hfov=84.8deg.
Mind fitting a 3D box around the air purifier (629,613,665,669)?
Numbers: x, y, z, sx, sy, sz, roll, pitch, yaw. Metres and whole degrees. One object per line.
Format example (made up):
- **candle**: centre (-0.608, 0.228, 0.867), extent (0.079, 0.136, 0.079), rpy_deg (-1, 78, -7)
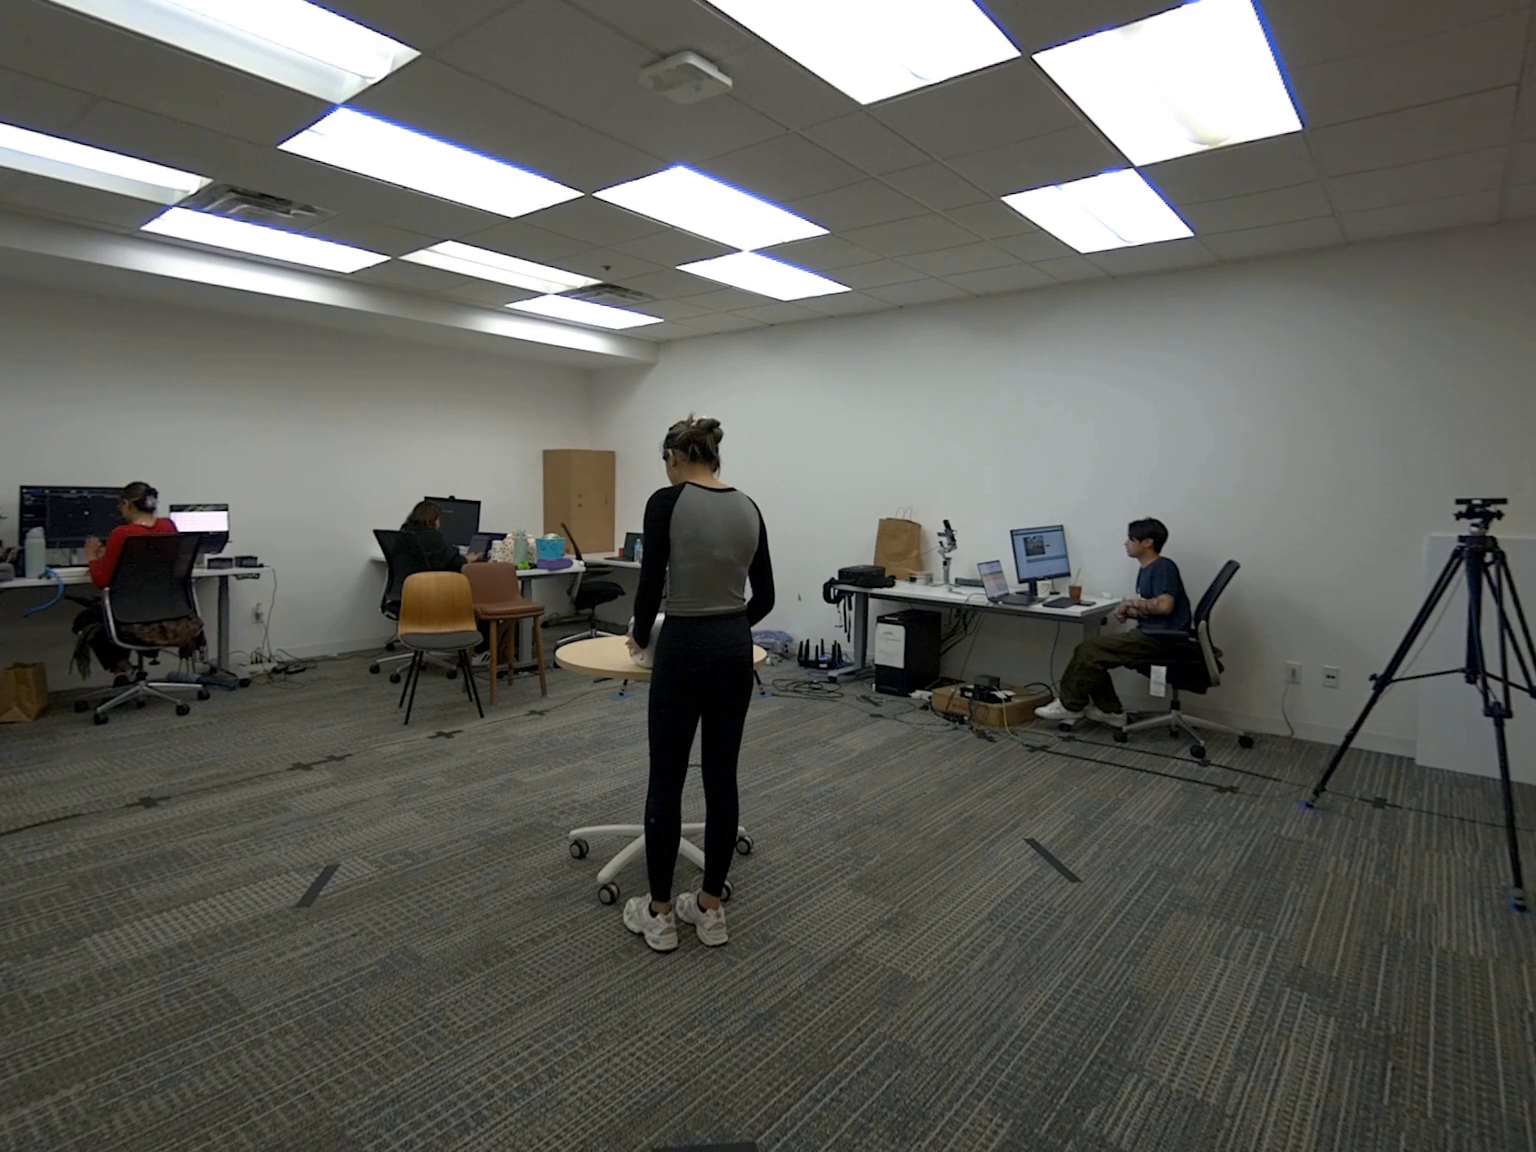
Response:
- **air purifier**: centre (-0.329, 0.208, 2.871), extent (0.258, 0.171, 0.176), rpy_deg (-2, 5, -30)
